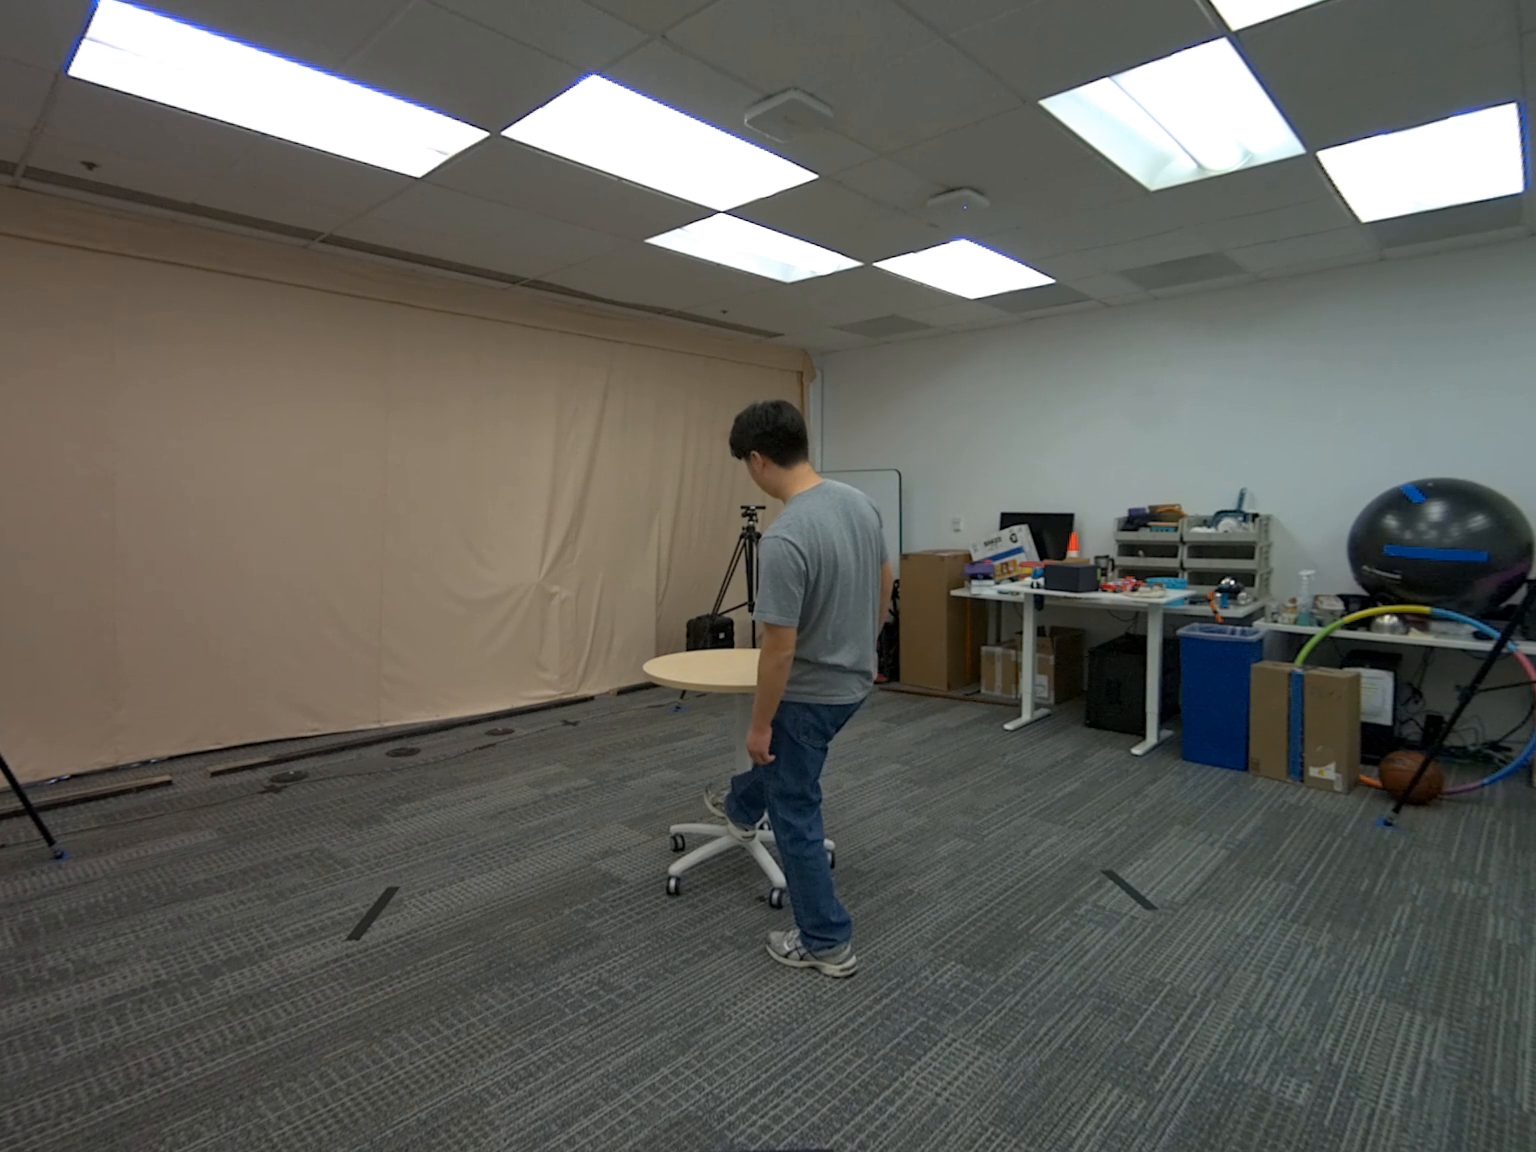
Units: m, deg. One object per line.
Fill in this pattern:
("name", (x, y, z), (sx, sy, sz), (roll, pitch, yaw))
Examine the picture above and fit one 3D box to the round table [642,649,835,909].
("round table", (-0.086, 0.733, 3.230), (0.763, 0.792, 0.766), (-1, 3, -2))
